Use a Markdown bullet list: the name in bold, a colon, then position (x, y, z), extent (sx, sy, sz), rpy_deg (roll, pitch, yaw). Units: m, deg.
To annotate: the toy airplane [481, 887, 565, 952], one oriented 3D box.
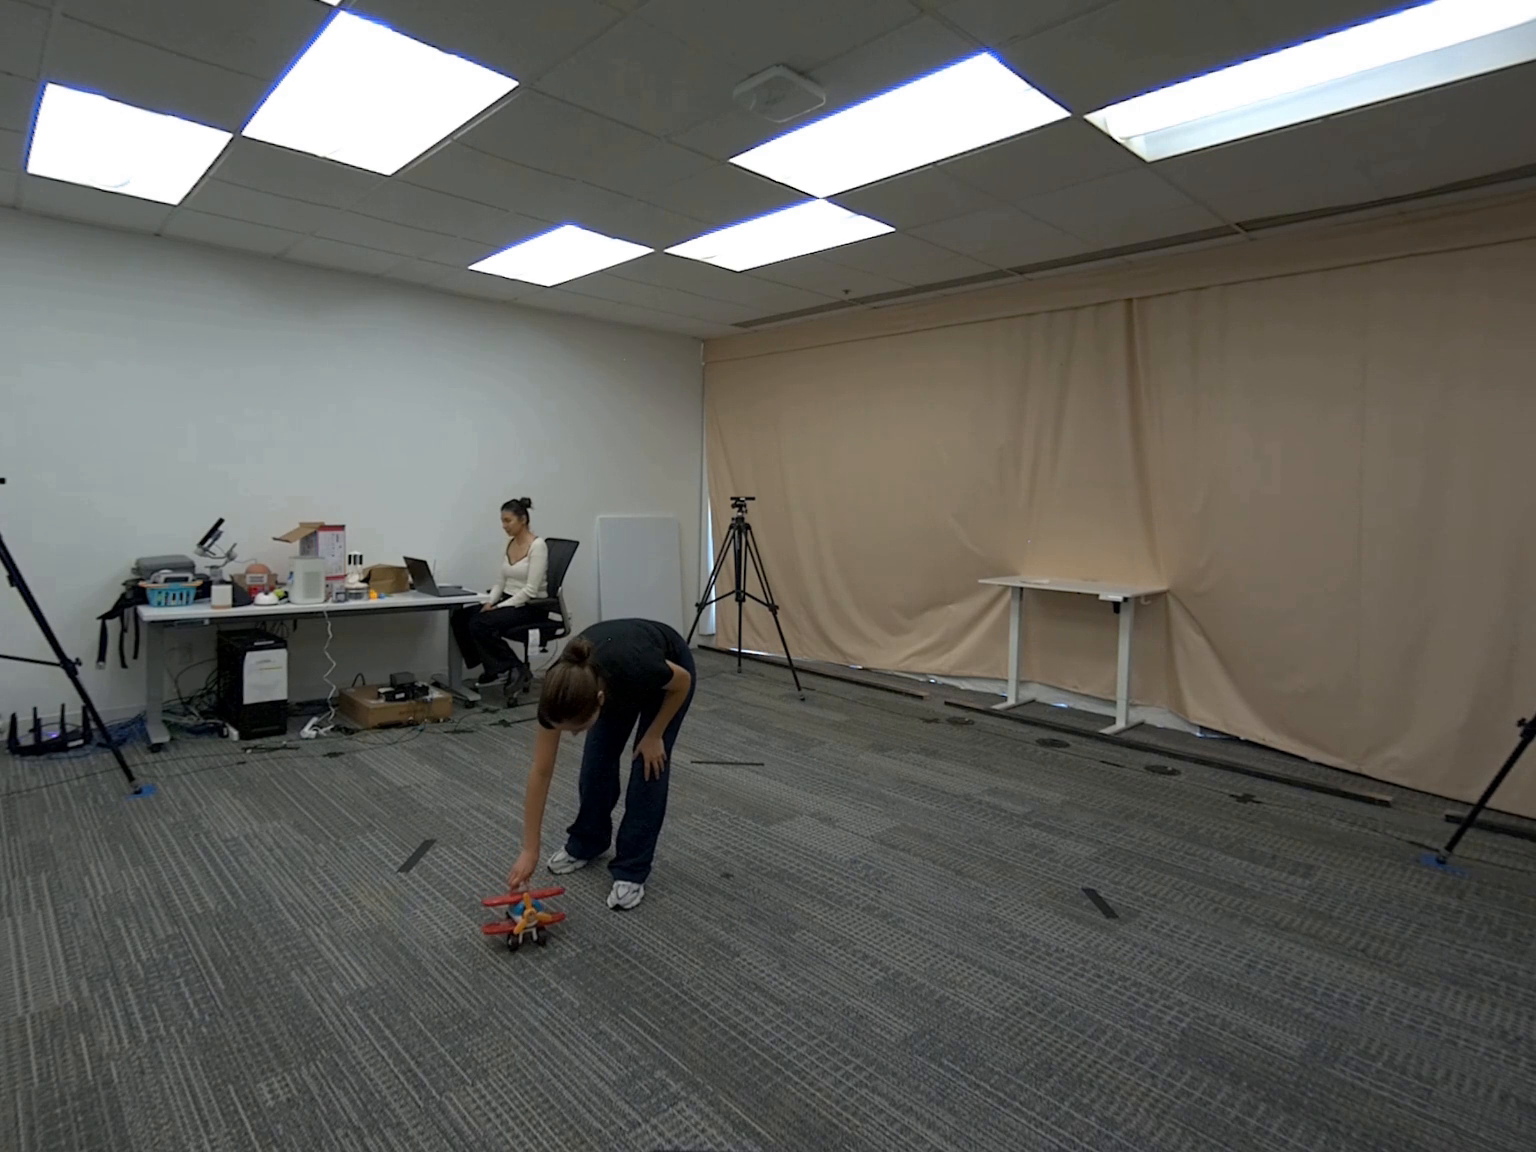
- **toy airplane**: position (-0.794, 1.065, 2.627), extent (0.266, 0.156, 0.246), rpy_deg (6, 7, 36)
